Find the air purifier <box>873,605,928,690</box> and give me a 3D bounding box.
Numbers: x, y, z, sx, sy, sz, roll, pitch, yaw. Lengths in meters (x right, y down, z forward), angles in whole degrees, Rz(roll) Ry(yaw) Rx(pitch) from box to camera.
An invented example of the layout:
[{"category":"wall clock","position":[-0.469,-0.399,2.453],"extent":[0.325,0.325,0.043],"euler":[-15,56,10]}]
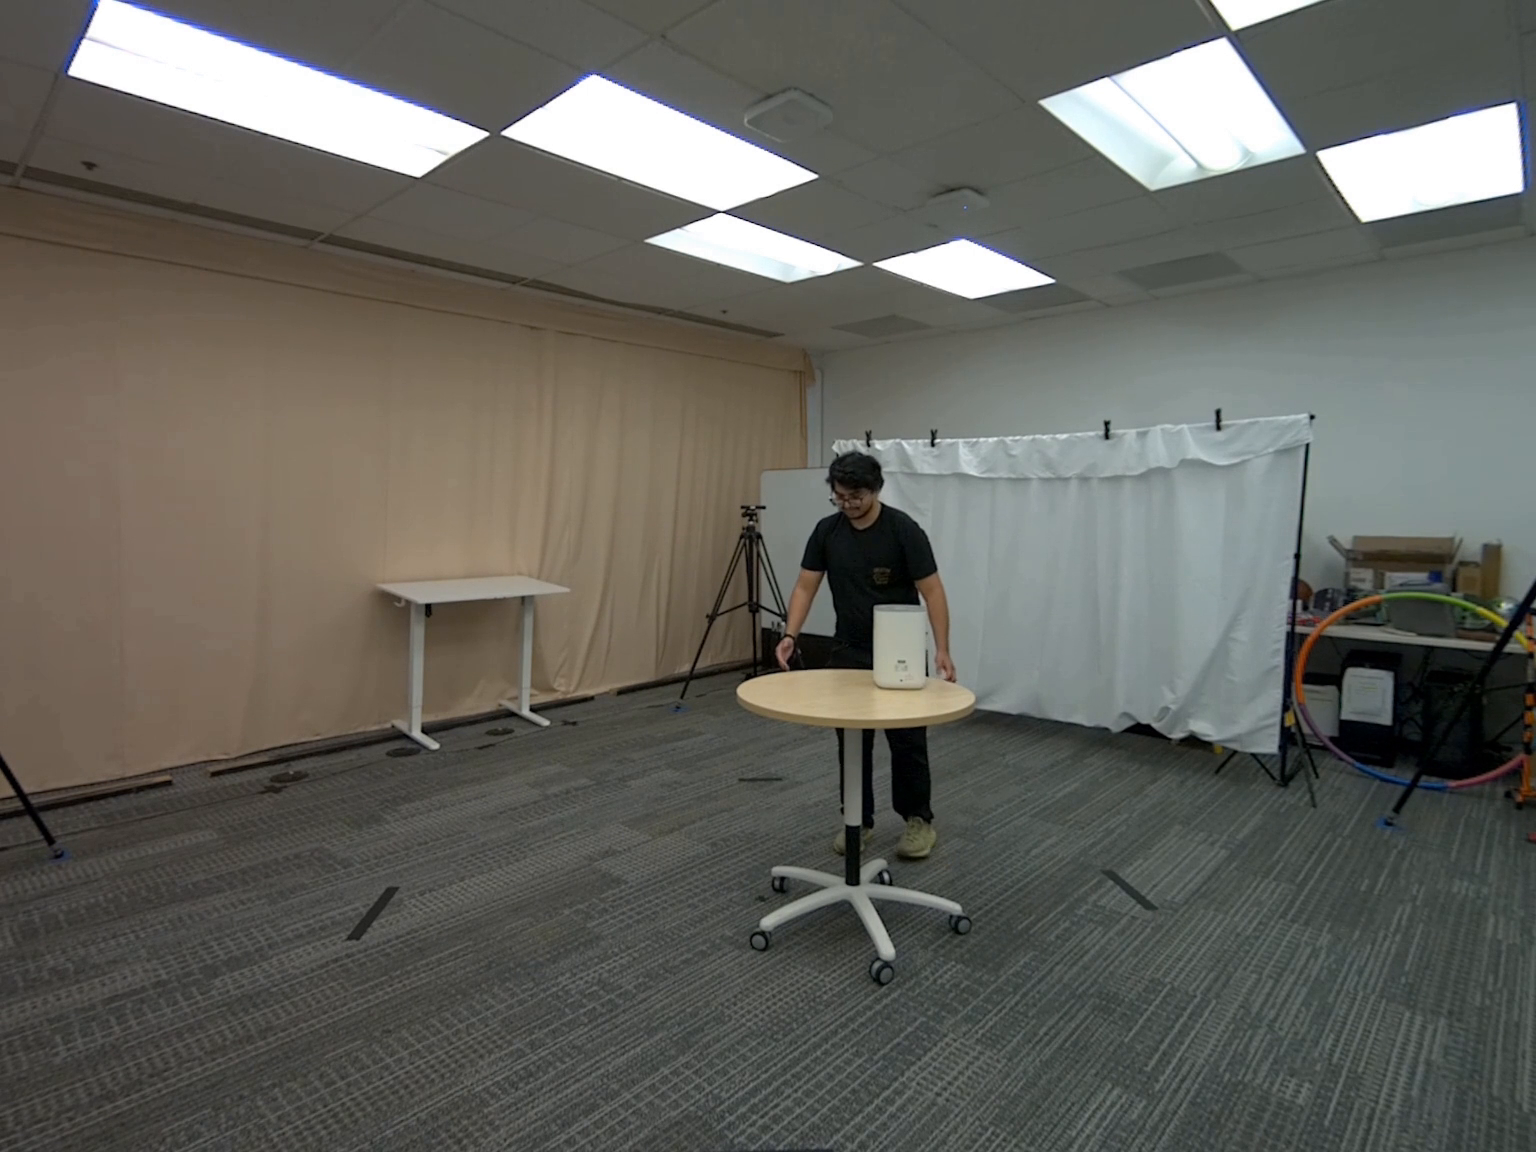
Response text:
[{"category":"air purifier","position":[0.443,0.235,2.845],"extent":[0.172,0.265,0.171],"euler":[1,3,5]}]
